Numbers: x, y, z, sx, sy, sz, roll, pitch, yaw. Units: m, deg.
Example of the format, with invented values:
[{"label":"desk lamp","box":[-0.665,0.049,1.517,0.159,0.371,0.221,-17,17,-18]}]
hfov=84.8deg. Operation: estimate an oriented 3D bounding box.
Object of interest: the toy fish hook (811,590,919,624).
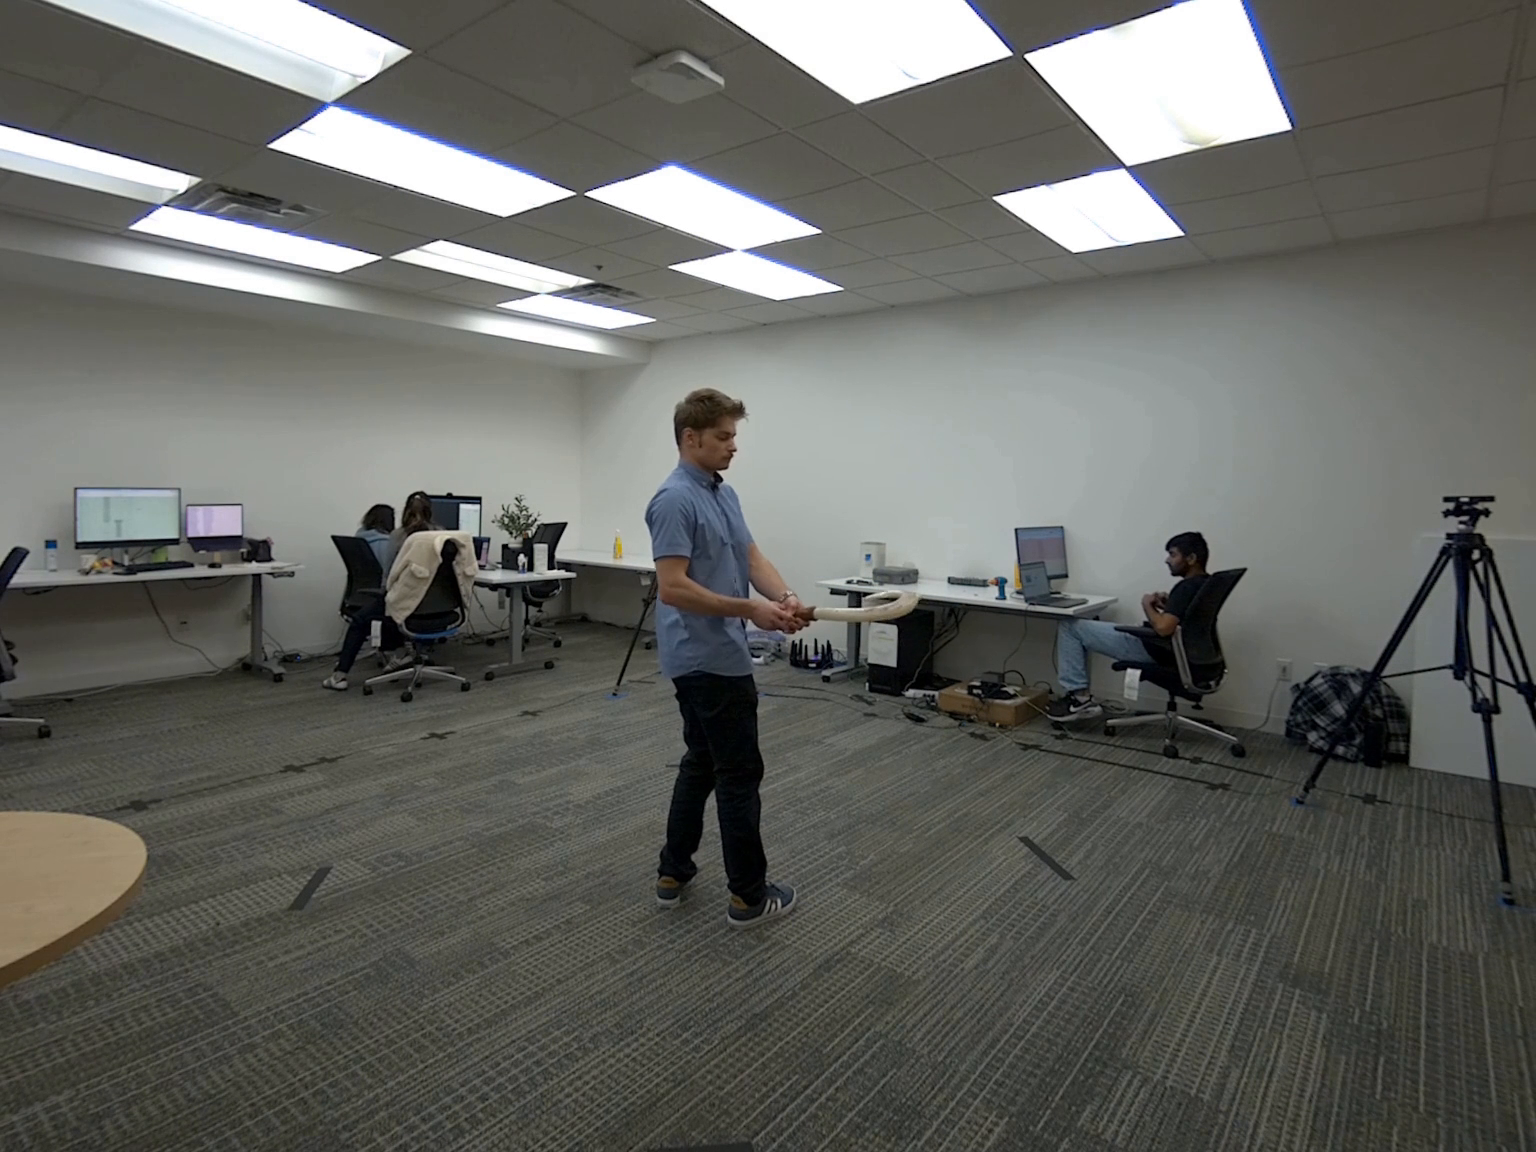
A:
[{"label":"toy fish hook","box":[0.207,0.099,2.593,0.519,0.048,0.221,-5,11,30]}]
